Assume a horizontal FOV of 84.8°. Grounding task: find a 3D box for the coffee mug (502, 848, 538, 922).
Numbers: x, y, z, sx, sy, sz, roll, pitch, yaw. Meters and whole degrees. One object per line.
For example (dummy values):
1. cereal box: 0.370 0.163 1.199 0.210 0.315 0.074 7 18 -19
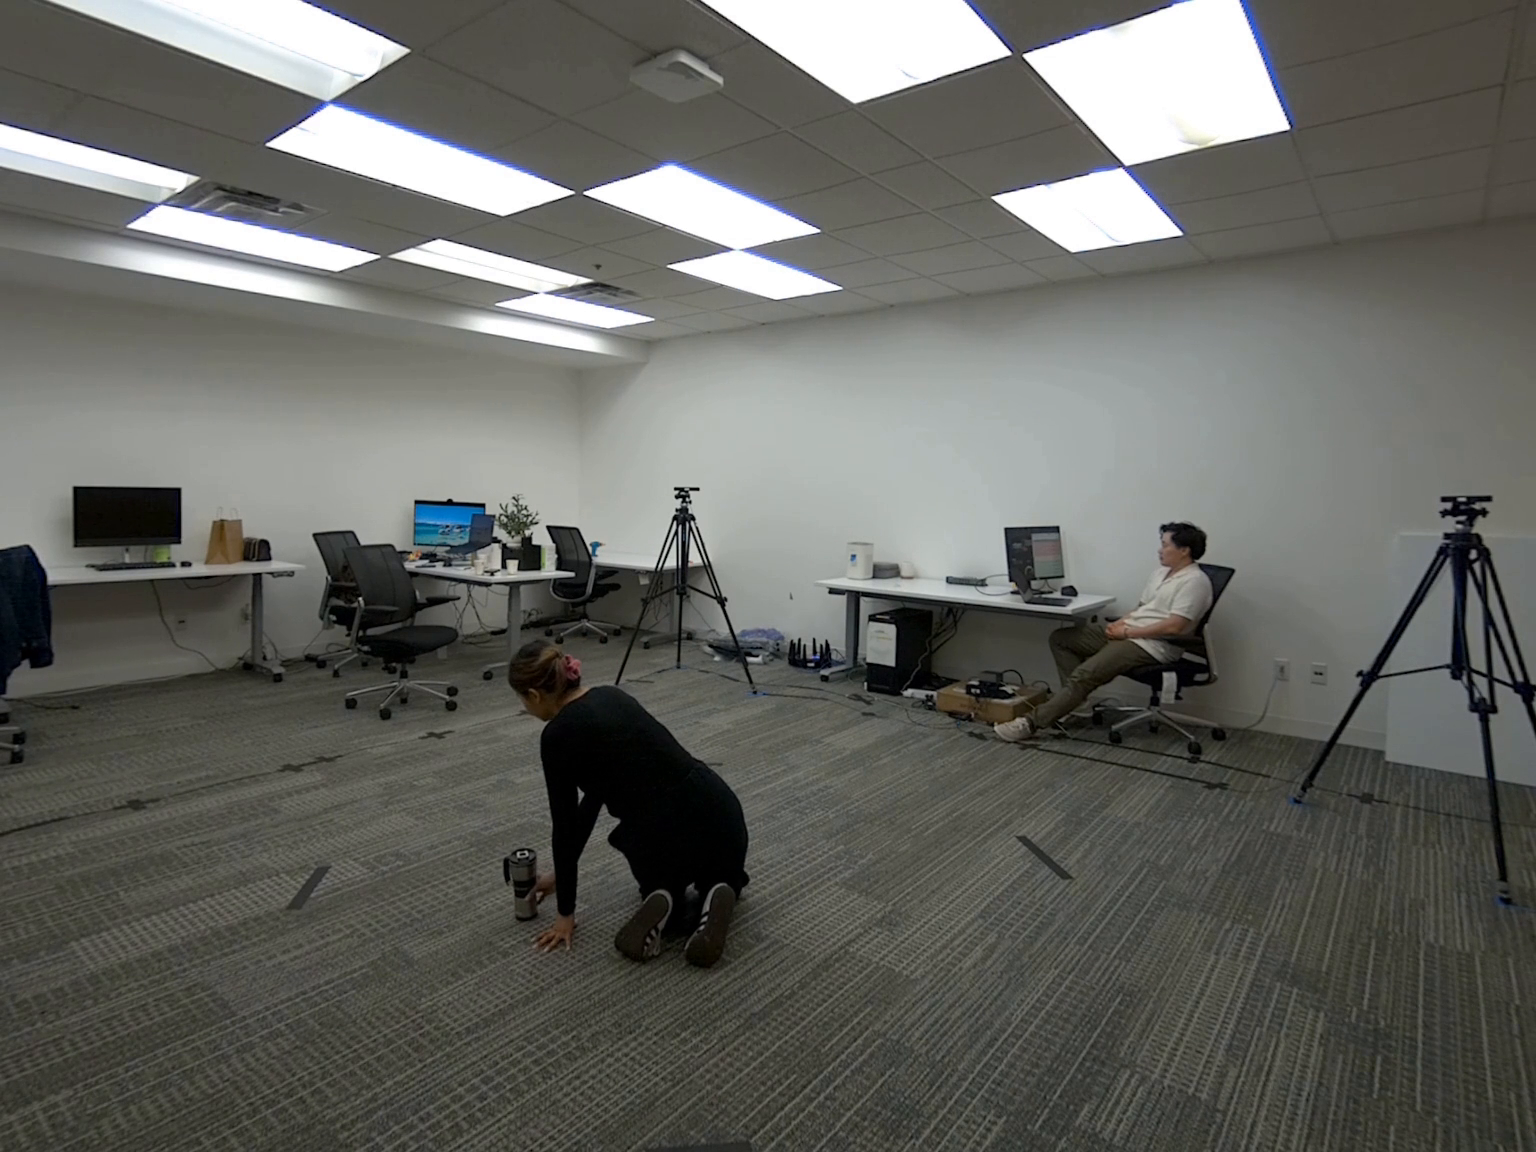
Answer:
1. coffee mug: -0.813 0.994 2.763 0.085 0.201 0.126 -8 10 -41
